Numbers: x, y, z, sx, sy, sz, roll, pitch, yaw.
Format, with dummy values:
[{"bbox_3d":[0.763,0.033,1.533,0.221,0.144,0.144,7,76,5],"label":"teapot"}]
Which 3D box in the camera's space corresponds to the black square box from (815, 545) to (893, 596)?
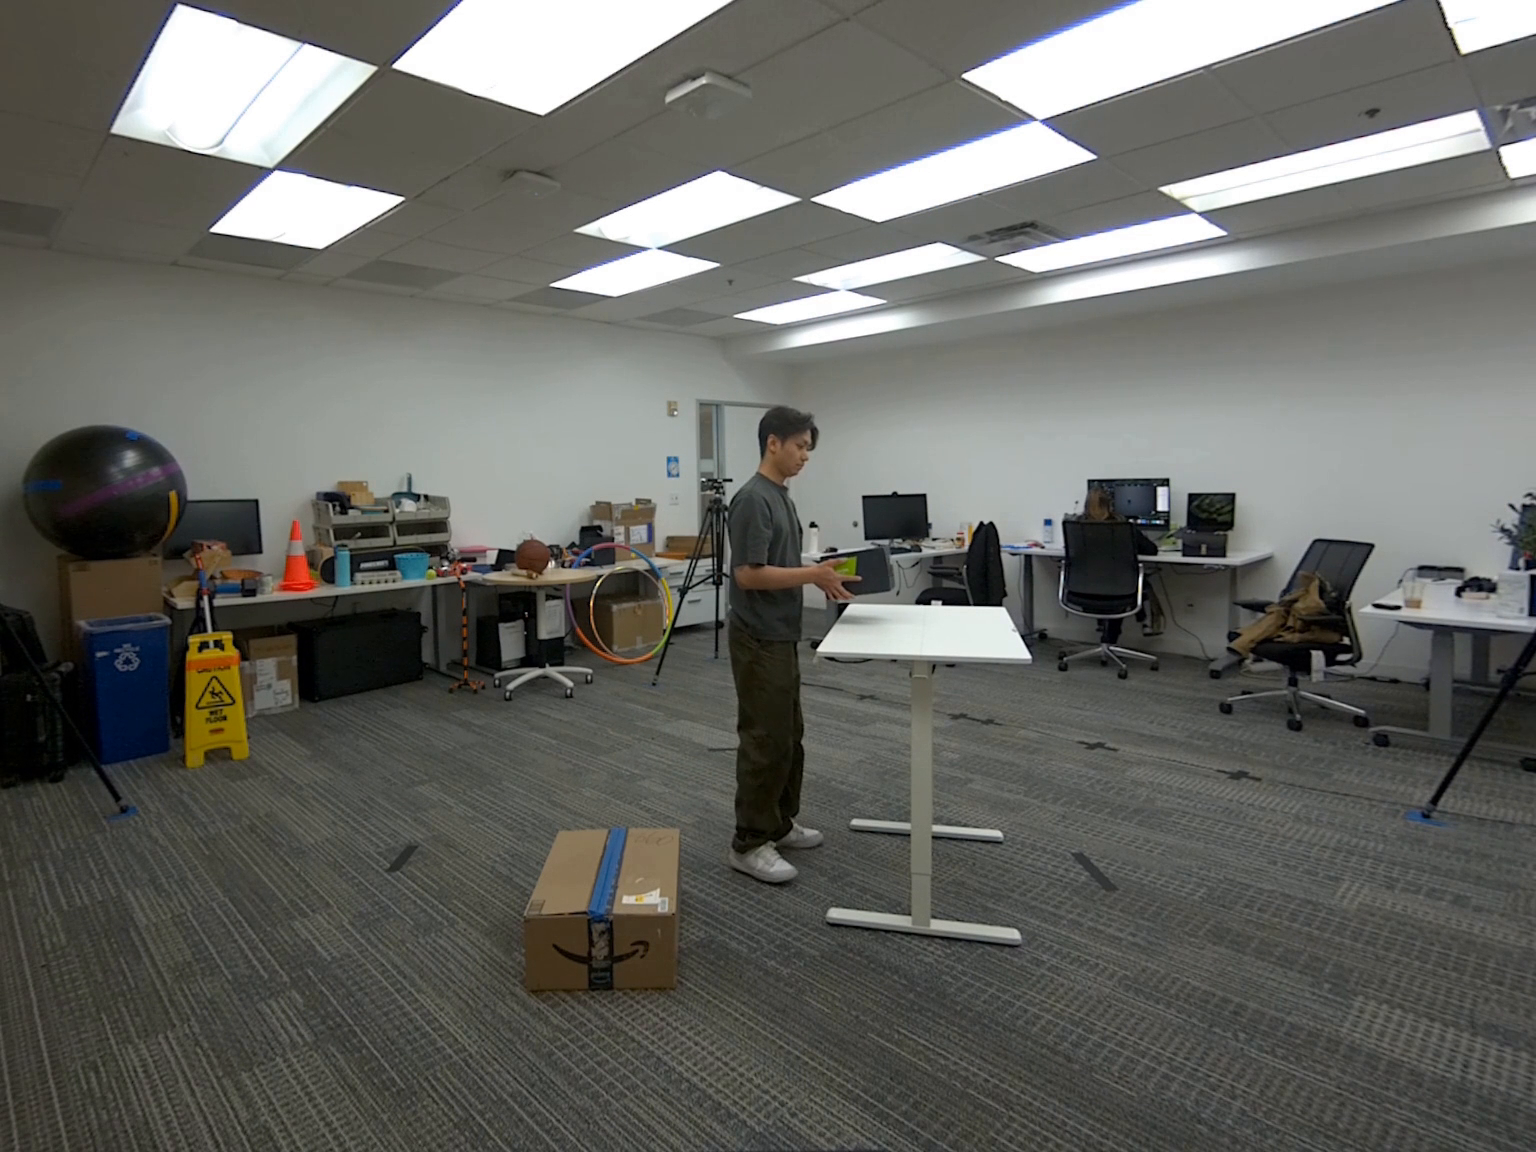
[{"bbox_3d":[0.324,-0.019,3.072,0.230,0.156,0.215,-8,2,12],"label":"black square box"}]
